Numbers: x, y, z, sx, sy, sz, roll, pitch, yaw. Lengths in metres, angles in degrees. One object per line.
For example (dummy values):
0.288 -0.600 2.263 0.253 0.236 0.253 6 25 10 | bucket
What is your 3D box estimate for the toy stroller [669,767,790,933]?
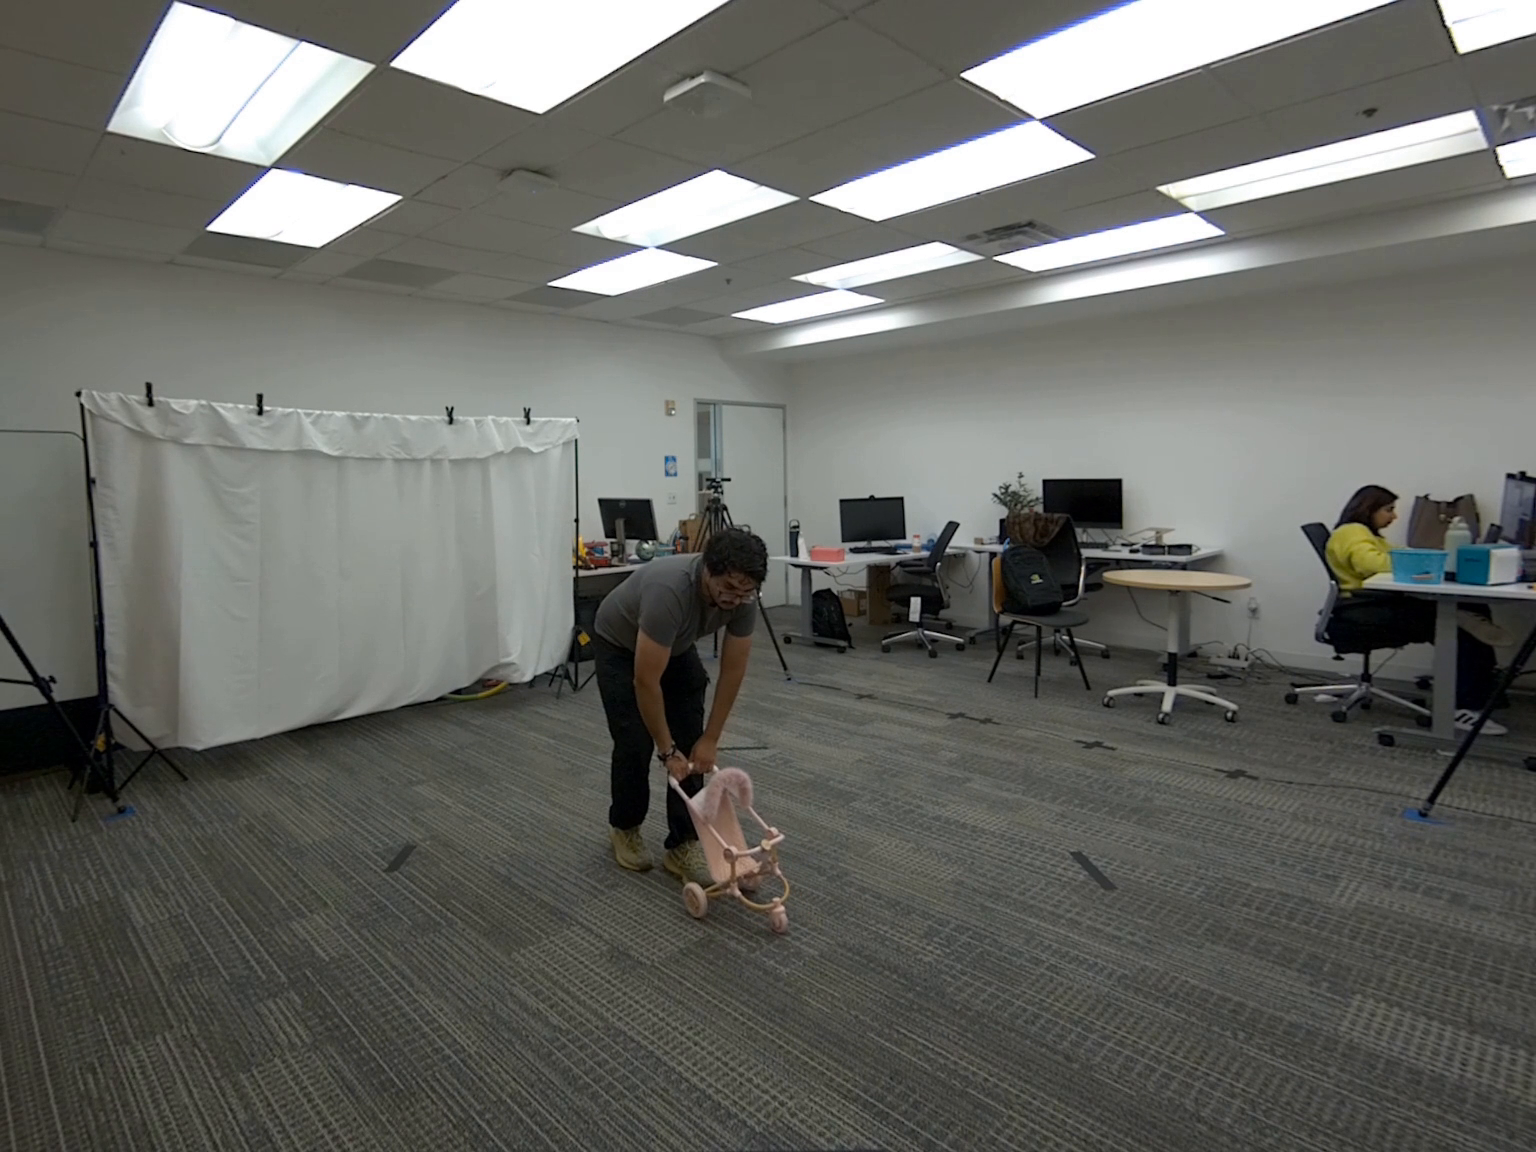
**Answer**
-0.102 0.857 2.753 0.274 0.540 0.347 -5 -11 -41 | toy stroller
